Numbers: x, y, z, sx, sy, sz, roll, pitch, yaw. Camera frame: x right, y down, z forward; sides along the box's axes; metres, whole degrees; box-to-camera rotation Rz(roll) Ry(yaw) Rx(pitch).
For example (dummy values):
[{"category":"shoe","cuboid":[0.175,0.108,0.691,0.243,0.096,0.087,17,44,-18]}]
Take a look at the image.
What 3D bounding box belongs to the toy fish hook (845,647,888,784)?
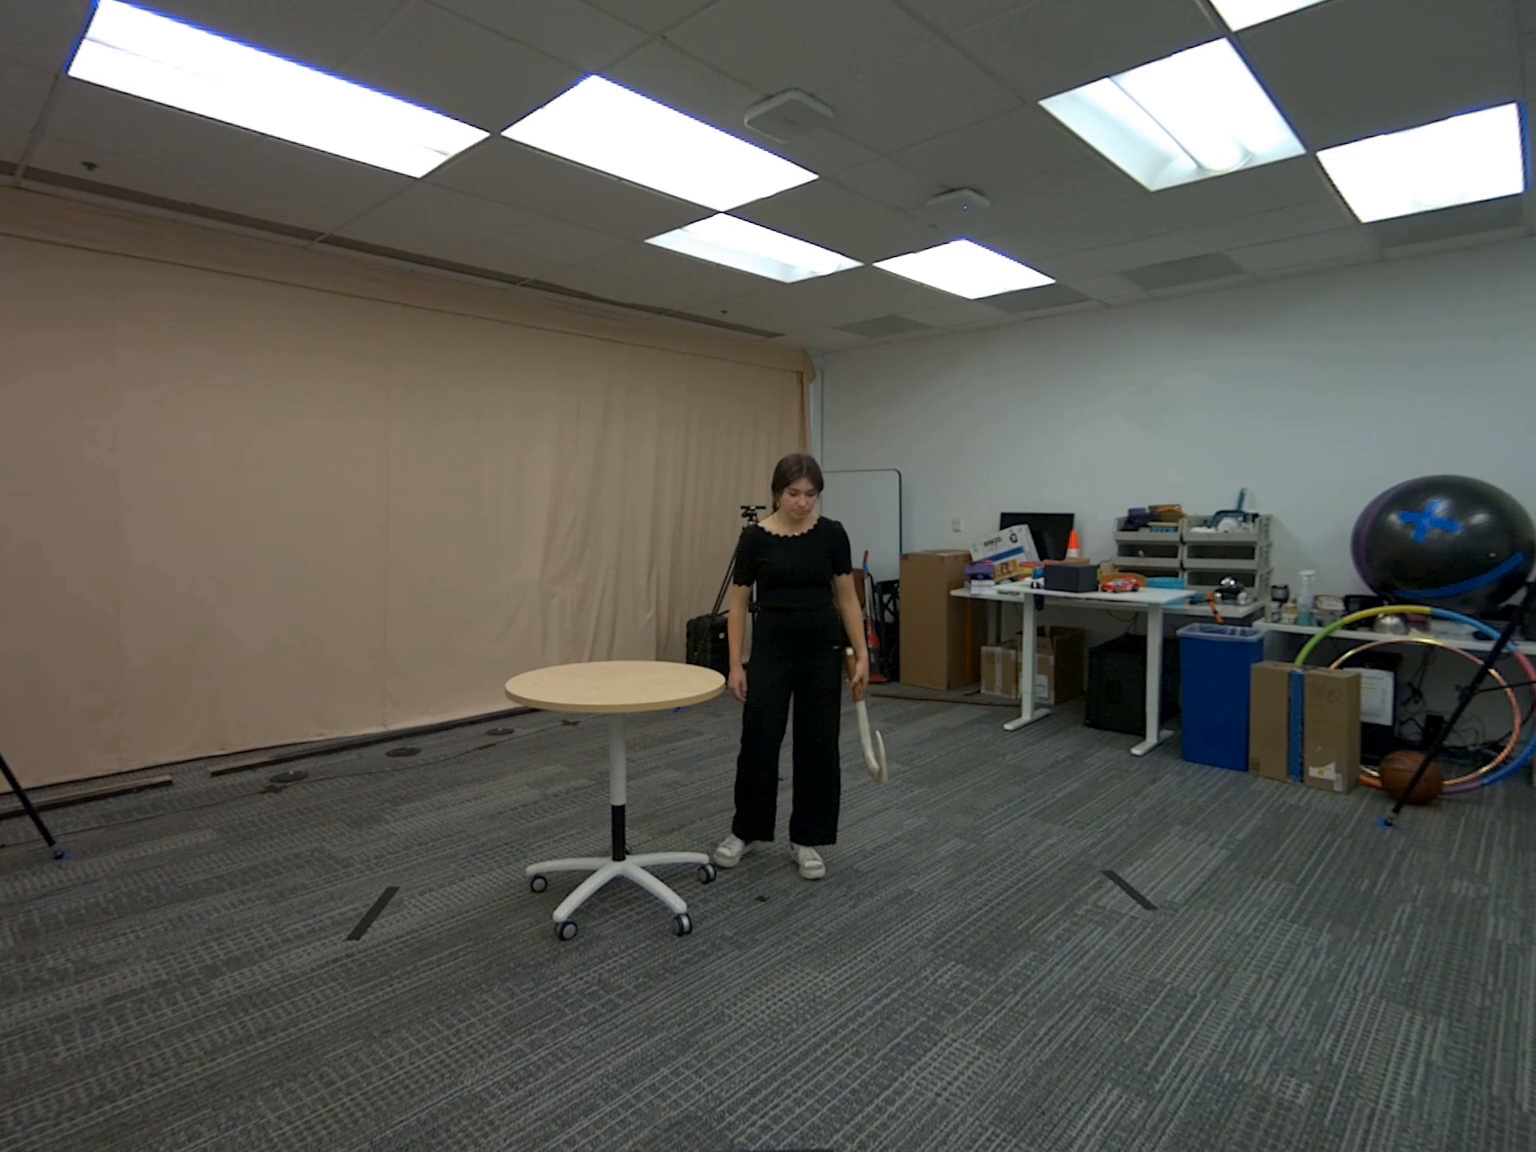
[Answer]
[{"category":"toy fish hook","cuboid":[0.361,0.506,3.073,0.048,0.511,0.224,-12,-10,-11]}]
